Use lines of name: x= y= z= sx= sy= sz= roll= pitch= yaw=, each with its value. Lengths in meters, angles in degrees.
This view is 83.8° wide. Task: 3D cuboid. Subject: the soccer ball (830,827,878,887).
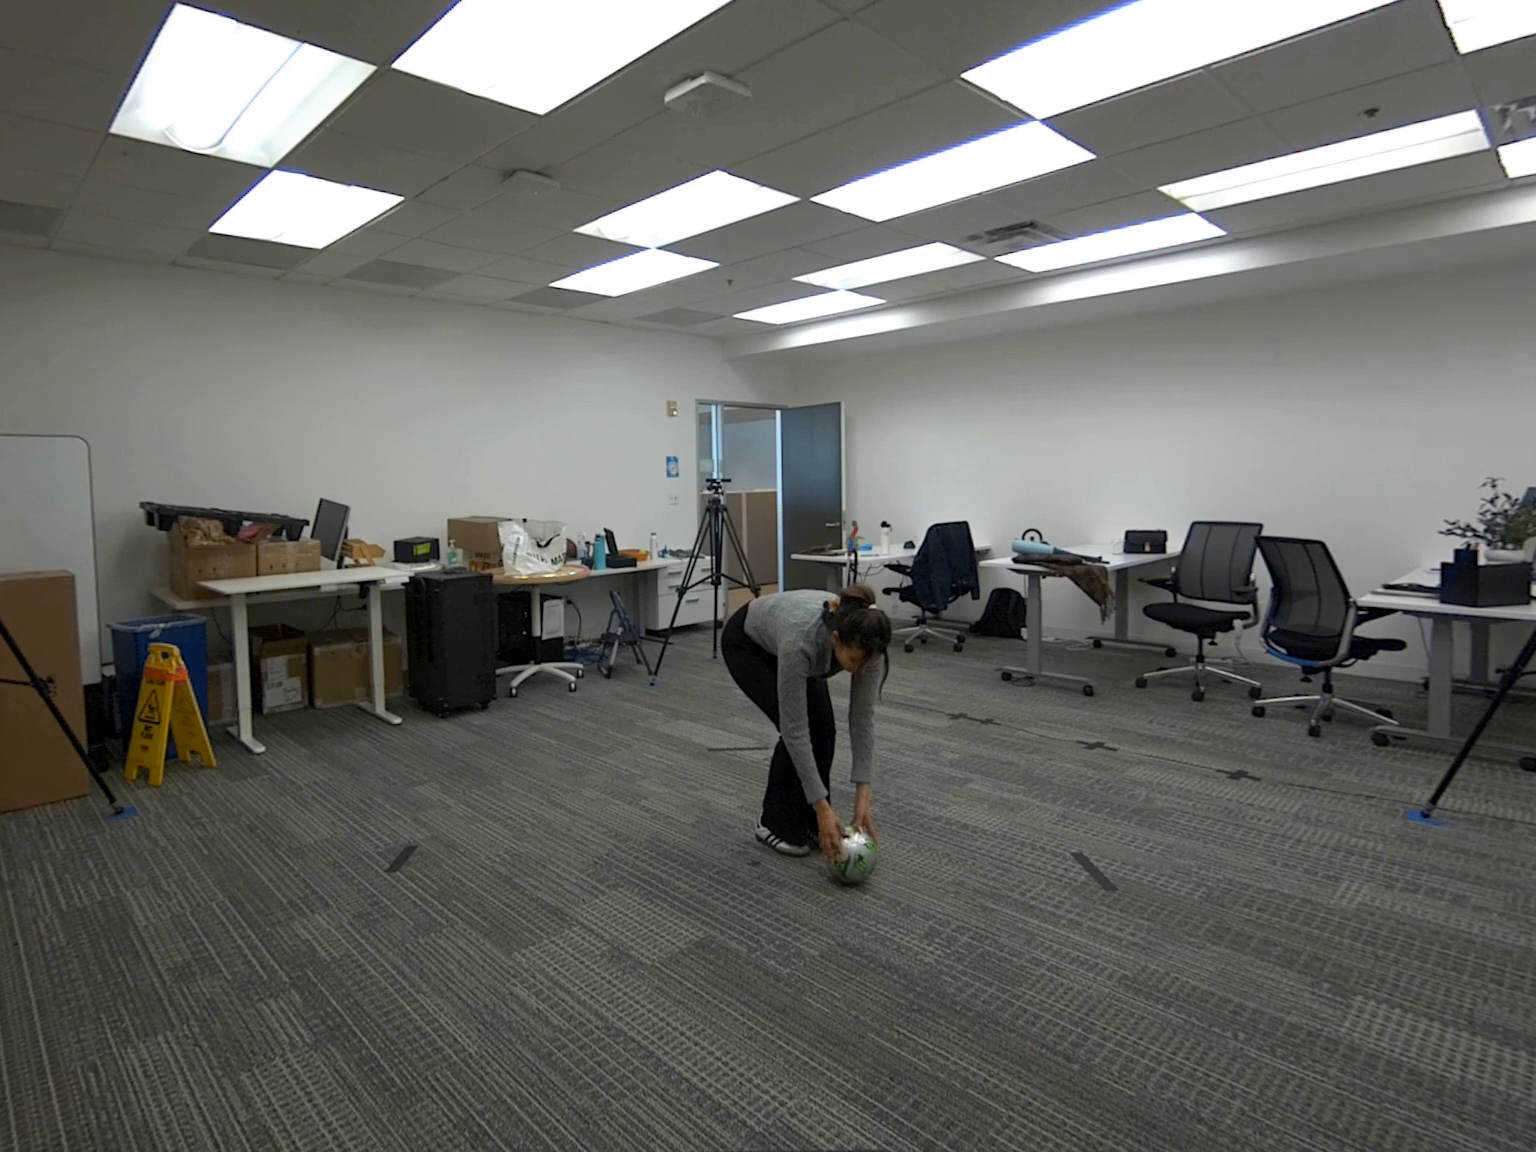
soccer ball: x=0.280 y=0.966 z=2.952 sx=0.187 sy=0.187 sz=0.188 roll=-1 pitch=5 yaw=-2
